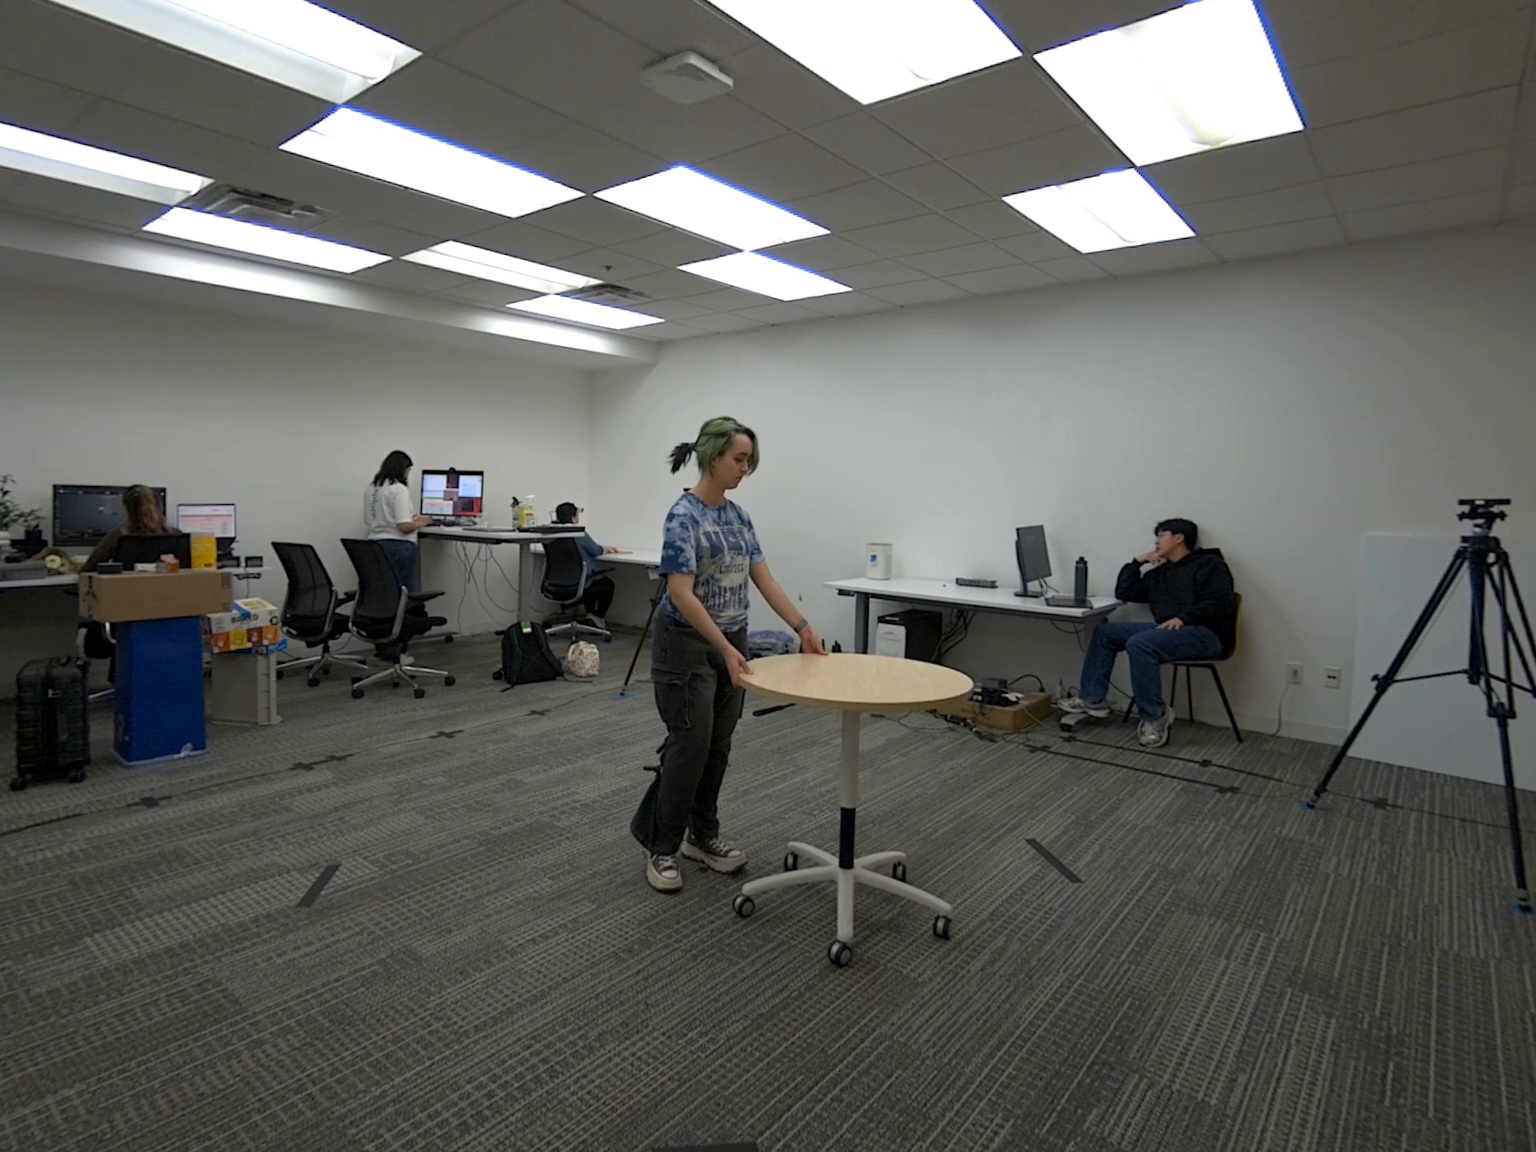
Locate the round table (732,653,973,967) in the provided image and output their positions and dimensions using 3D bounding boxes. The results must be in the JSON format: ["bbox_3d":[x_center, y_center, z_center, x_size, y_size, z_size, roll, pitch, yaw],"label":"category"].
[{"bbox_3d":[0.252,0.716,2.825,0.763,0.791,0.768,2,4,-2],"label":"round table"}]
